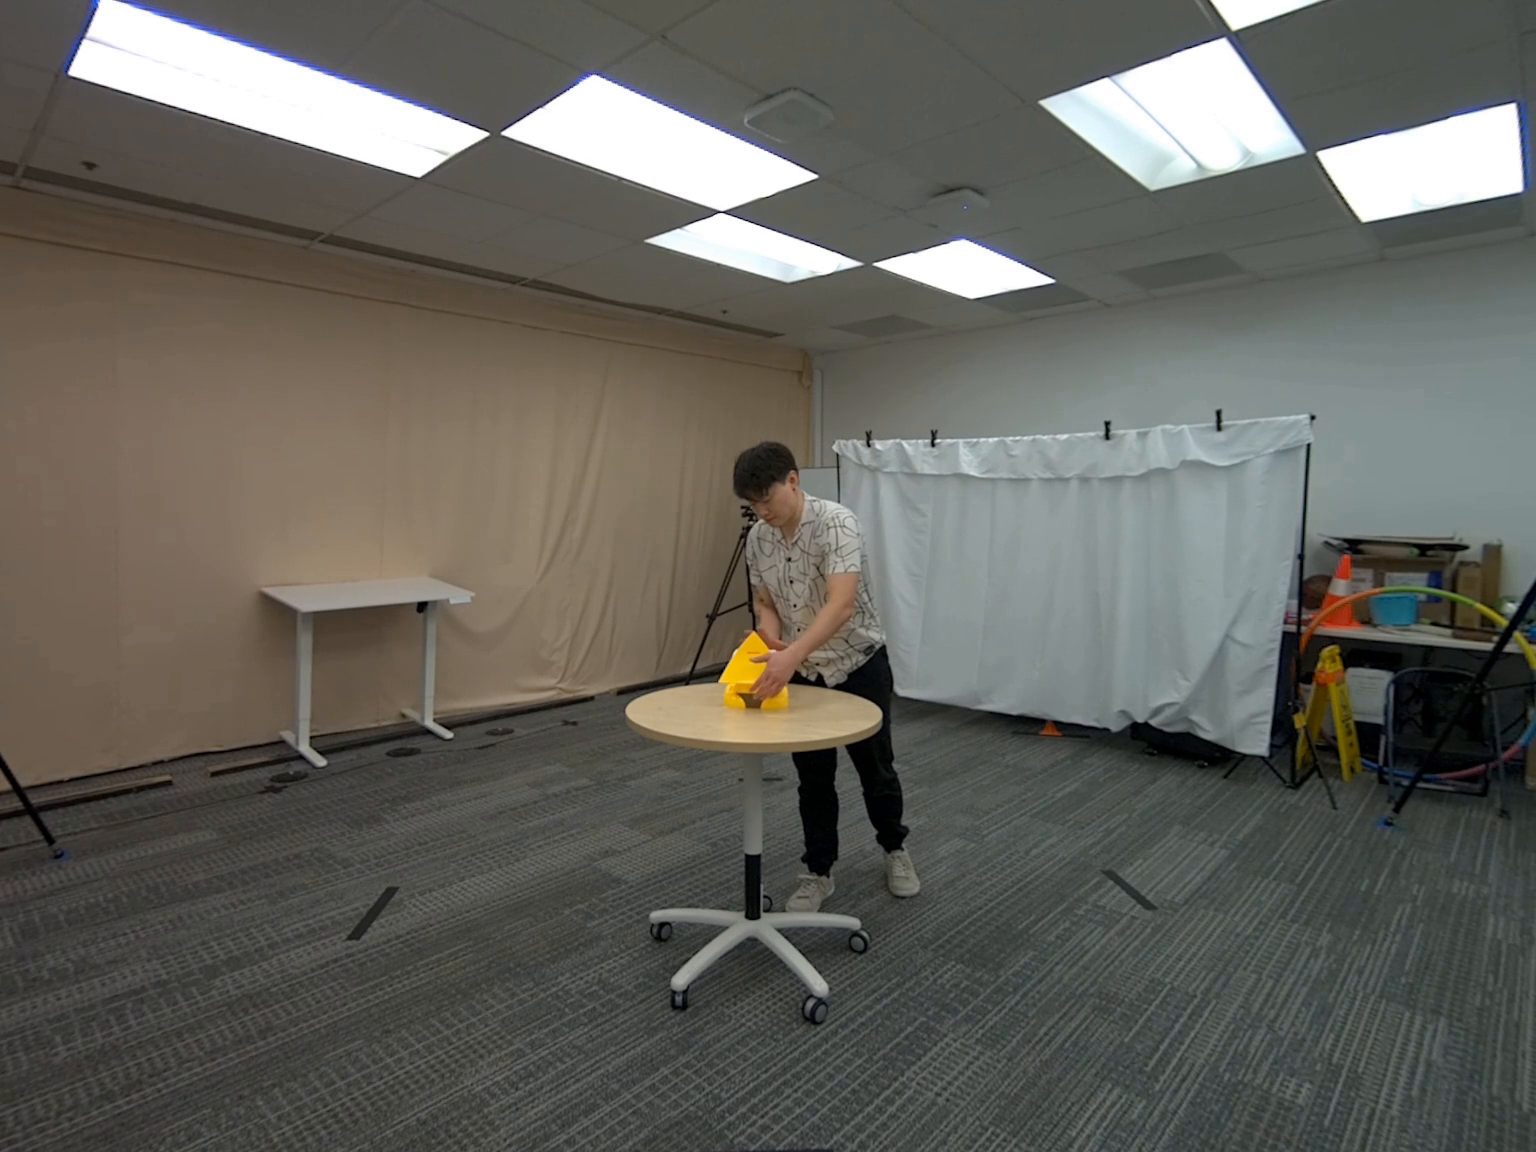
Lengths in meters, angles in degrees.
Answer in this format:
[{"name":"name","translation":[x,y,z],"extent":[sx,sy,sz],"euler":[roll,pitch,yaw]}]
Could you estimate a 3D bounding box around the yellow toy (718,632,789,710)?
[{"name":"yellow toy","translation":[-0.032,0.282,2.592],"extent":[0.207,0.230,0.191],"euler":[1,3,8]}]
